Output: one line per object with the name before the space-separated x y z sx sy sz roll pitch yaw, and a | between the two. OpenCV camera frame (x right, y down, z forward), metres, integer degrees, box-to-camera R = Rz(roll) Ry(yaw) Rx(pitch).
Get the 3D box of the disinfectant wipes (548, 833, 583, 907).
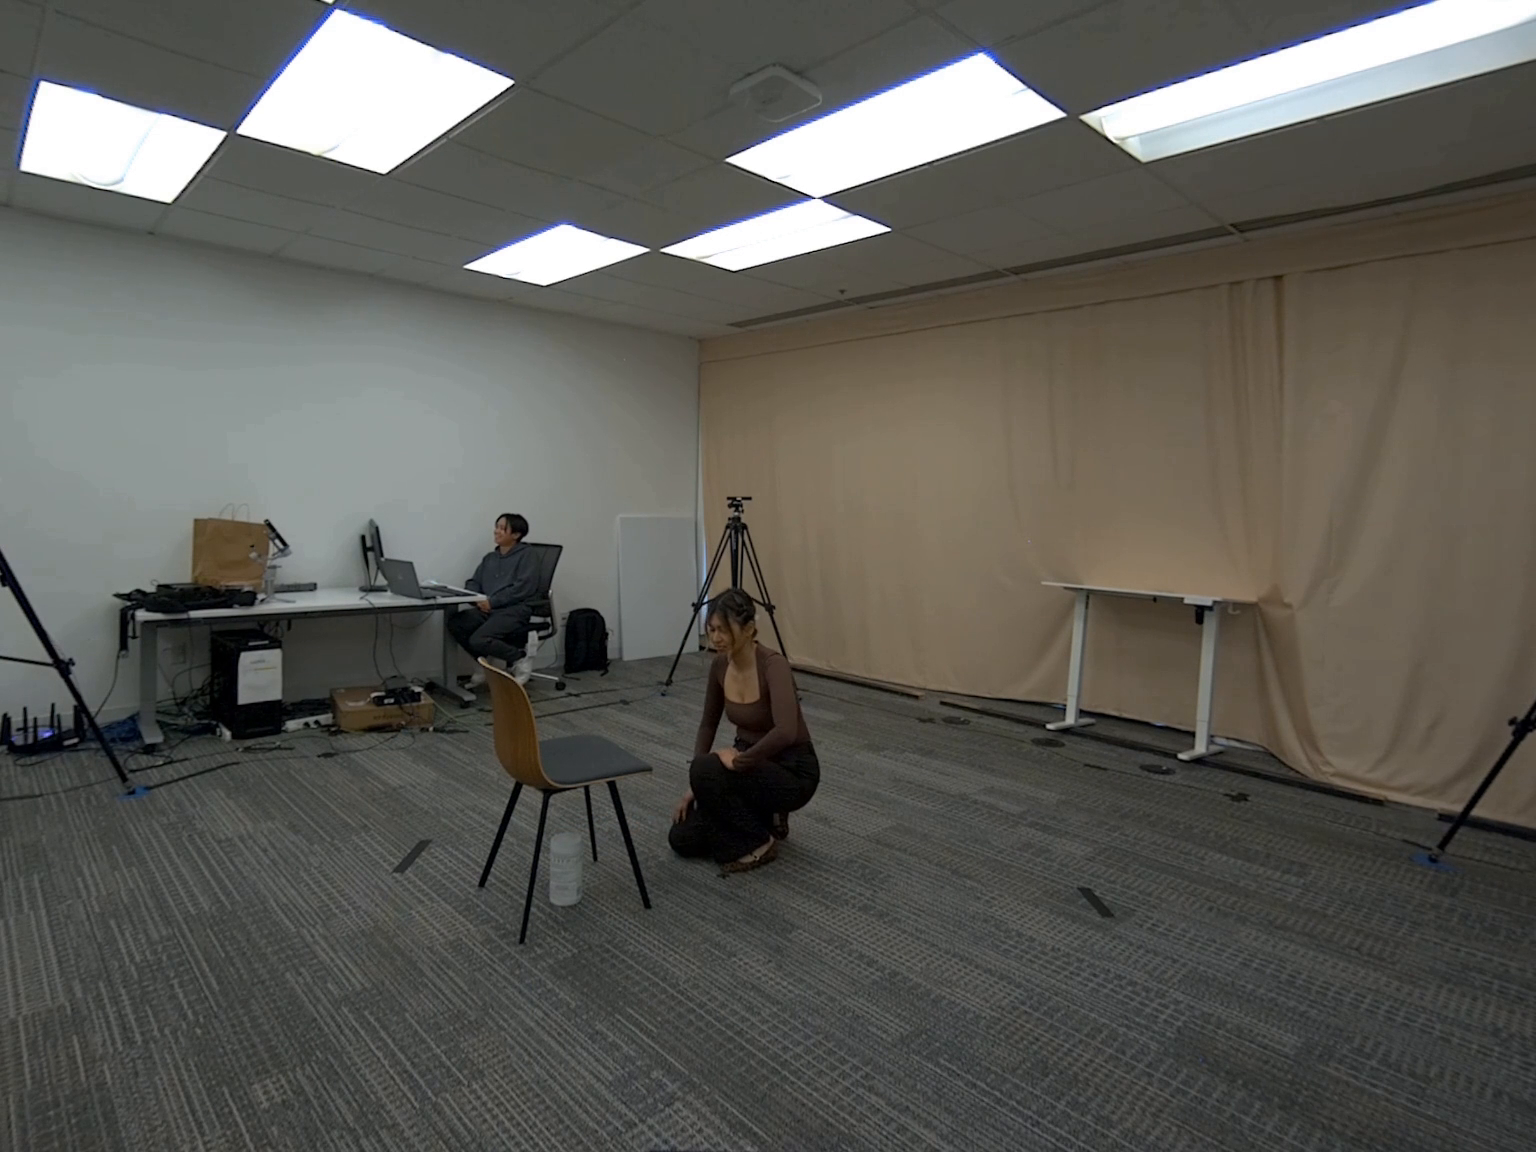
disinfectant wipes | -0.703 1.014 2.888 0.118 0.217 0.118 3 3 -2
